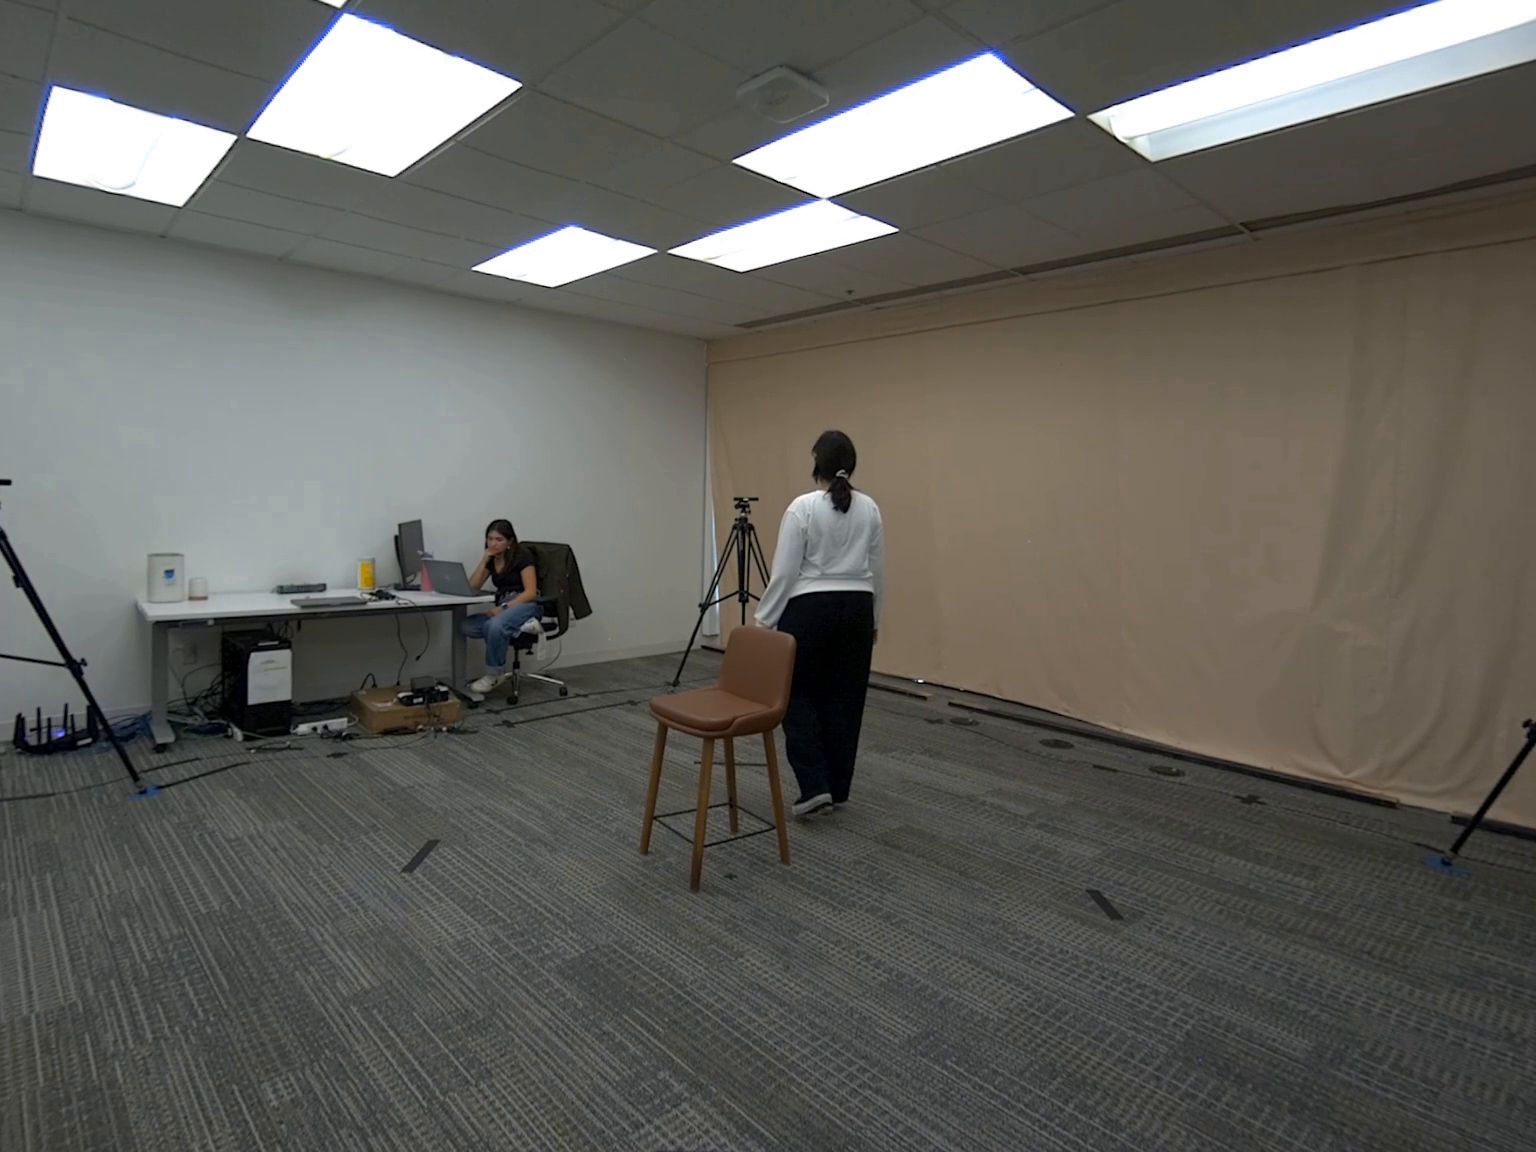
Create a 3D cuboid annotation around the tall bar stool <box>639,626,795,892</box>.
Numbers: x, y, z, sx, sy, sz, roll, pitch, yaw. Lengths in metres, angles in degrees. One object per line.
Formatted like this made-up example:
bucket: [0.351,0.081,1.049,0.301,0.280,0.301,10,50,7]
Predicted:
tall bar stool: [-0.196,0.658,3.239,0.457,0.889,0.467,1,2,-36]
